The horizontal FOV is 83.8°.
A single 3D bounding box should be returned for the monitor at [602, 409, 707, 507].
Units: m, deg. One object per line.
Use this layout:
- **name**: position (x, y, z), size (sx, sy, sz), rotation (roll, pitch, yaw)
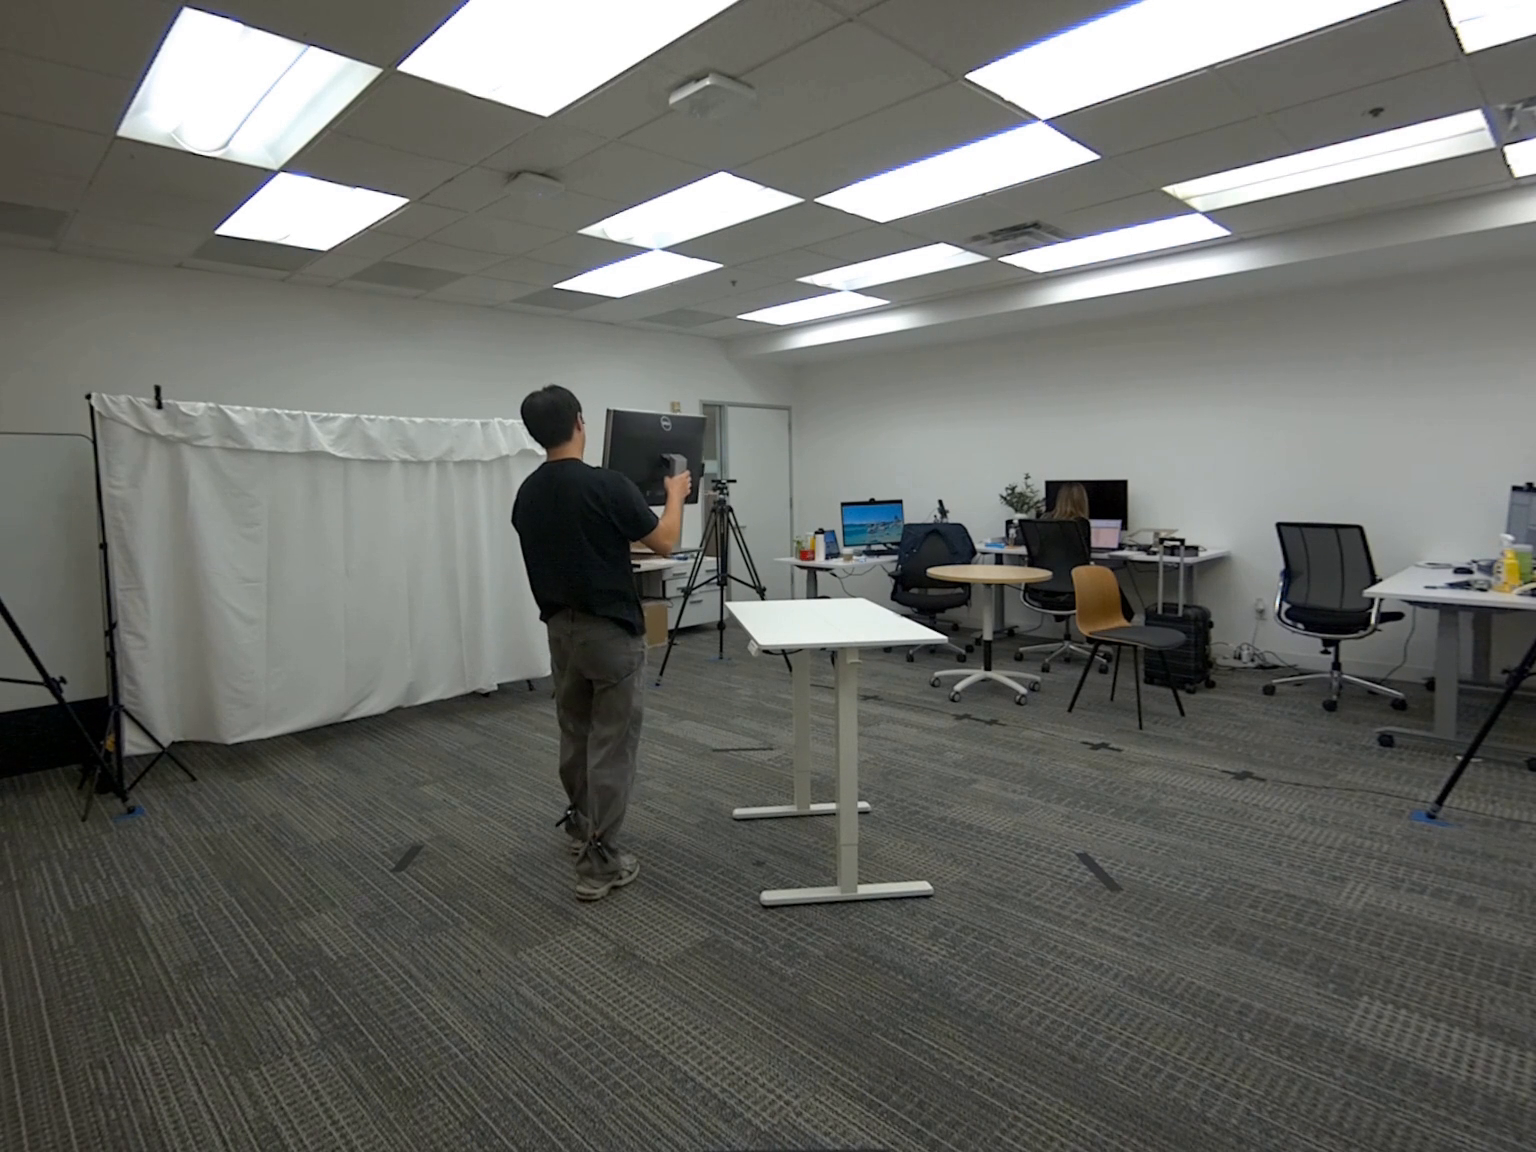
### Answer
- **monitor**: position (-0.399, -0.344, 3.260), size (0.228, 0.566, 0.548), rotation (-6, 1, 38)
